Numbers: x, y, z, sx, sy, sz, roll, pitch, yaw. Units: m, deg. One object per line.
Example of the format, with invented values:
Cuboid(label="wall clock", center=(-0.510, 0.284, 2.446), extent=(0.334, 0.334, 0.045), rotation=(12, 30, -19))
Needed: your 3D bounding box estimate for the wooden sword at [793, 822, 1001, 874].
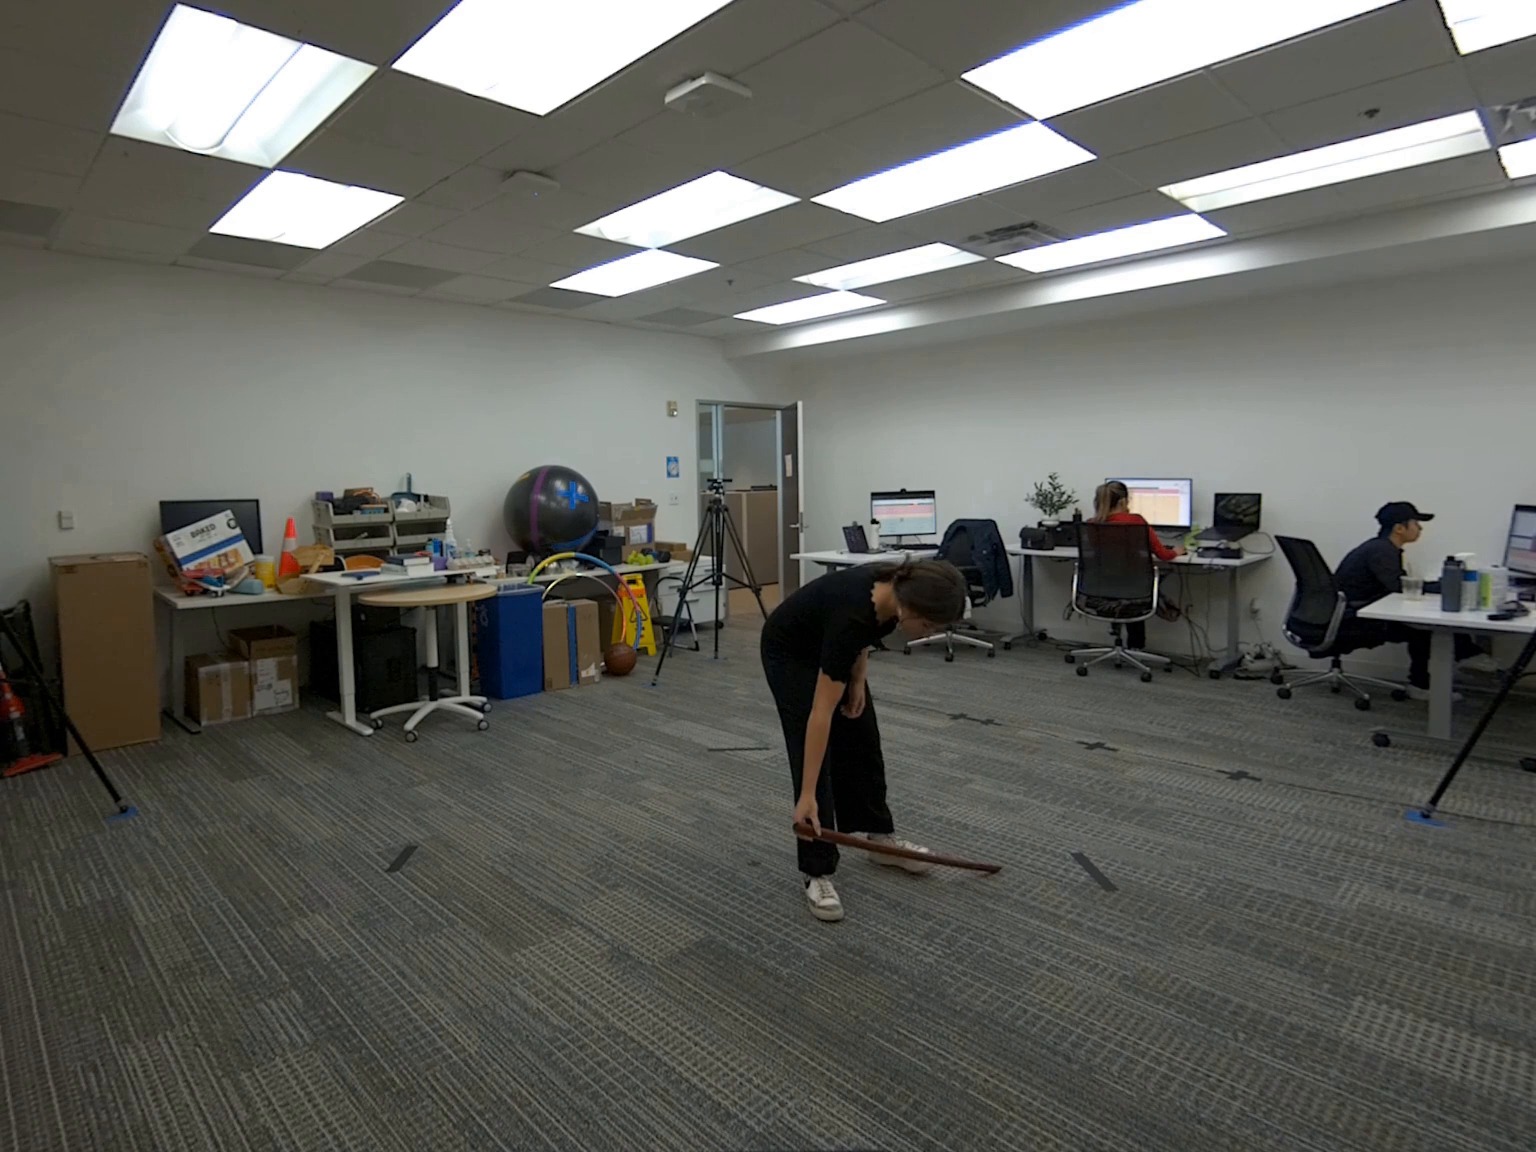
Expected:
Cuboid(label="wooden sword", center=(0.452, 0.881, 2.743), extent=(0.989, 0.052, 0.025), rotation=(21, -15, -37))
